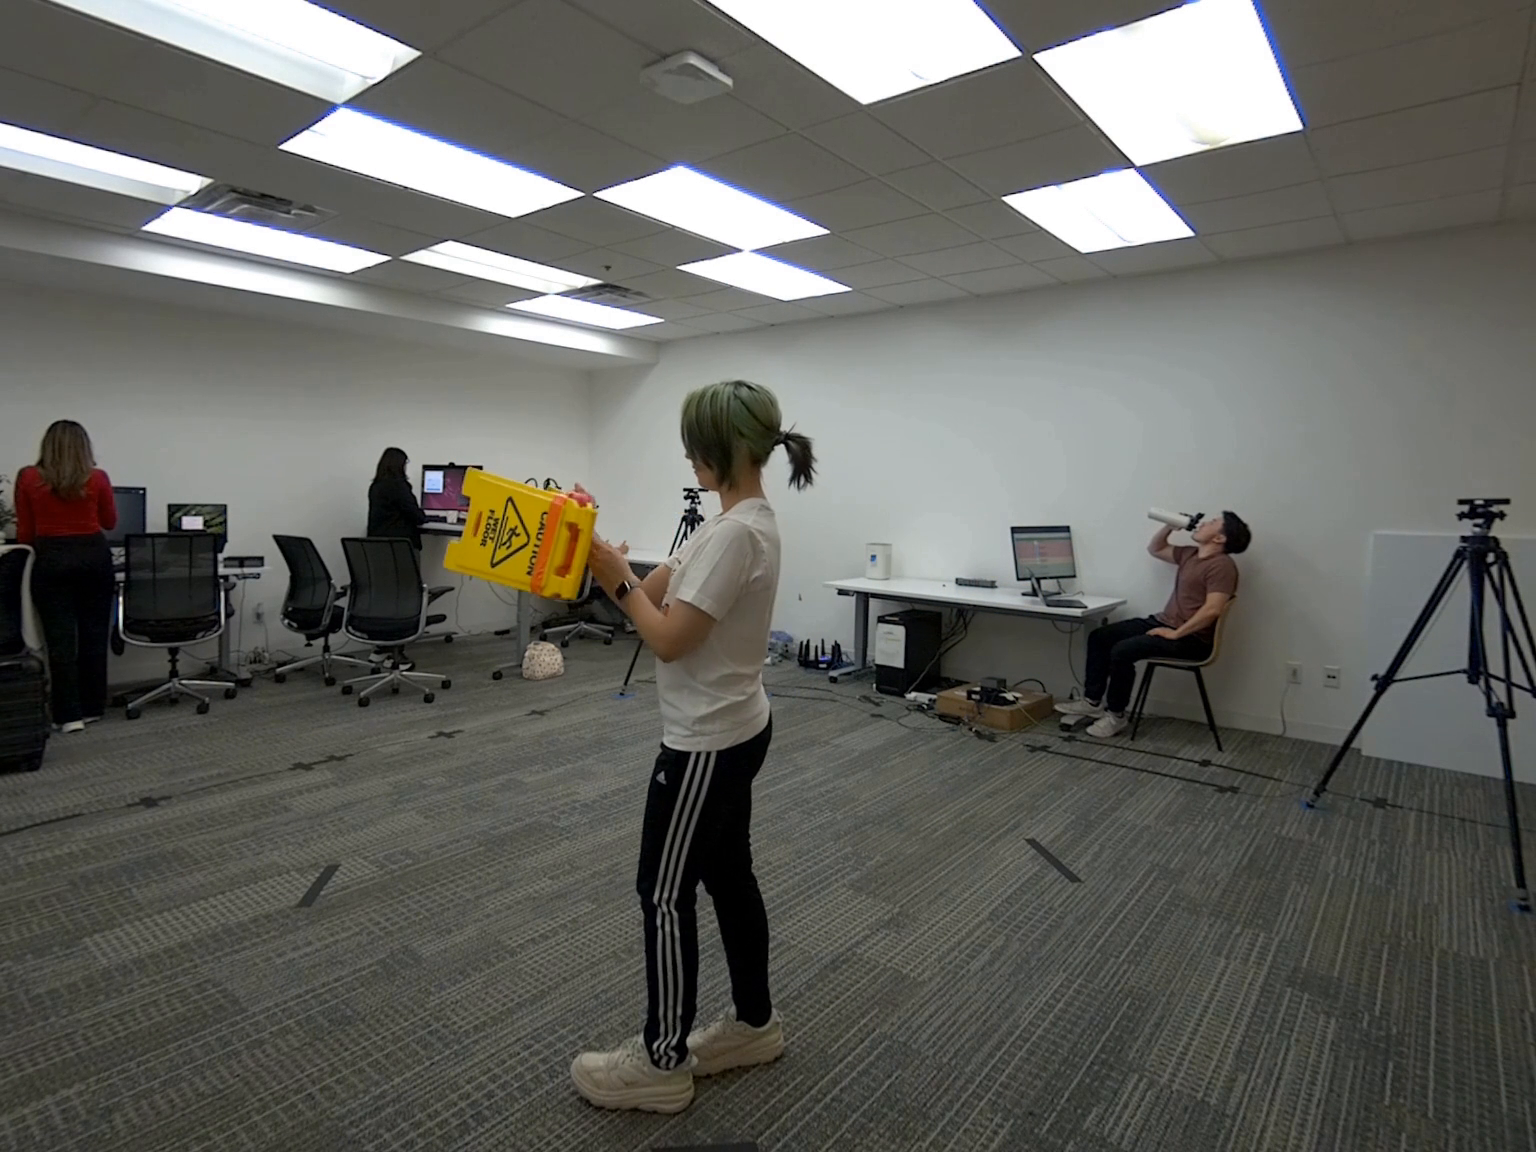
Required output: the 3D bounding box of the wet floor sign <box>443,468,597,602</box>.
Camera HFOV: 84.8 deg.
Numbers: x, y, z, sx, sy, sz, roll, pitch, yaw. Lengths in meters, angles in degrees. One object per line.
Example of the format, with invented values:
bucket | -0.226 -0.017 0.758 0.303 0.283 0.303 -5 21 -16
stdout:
wet floor sign | -0.573 -0.086 2.066 0.280 0.282 0.668 12 1 -32
